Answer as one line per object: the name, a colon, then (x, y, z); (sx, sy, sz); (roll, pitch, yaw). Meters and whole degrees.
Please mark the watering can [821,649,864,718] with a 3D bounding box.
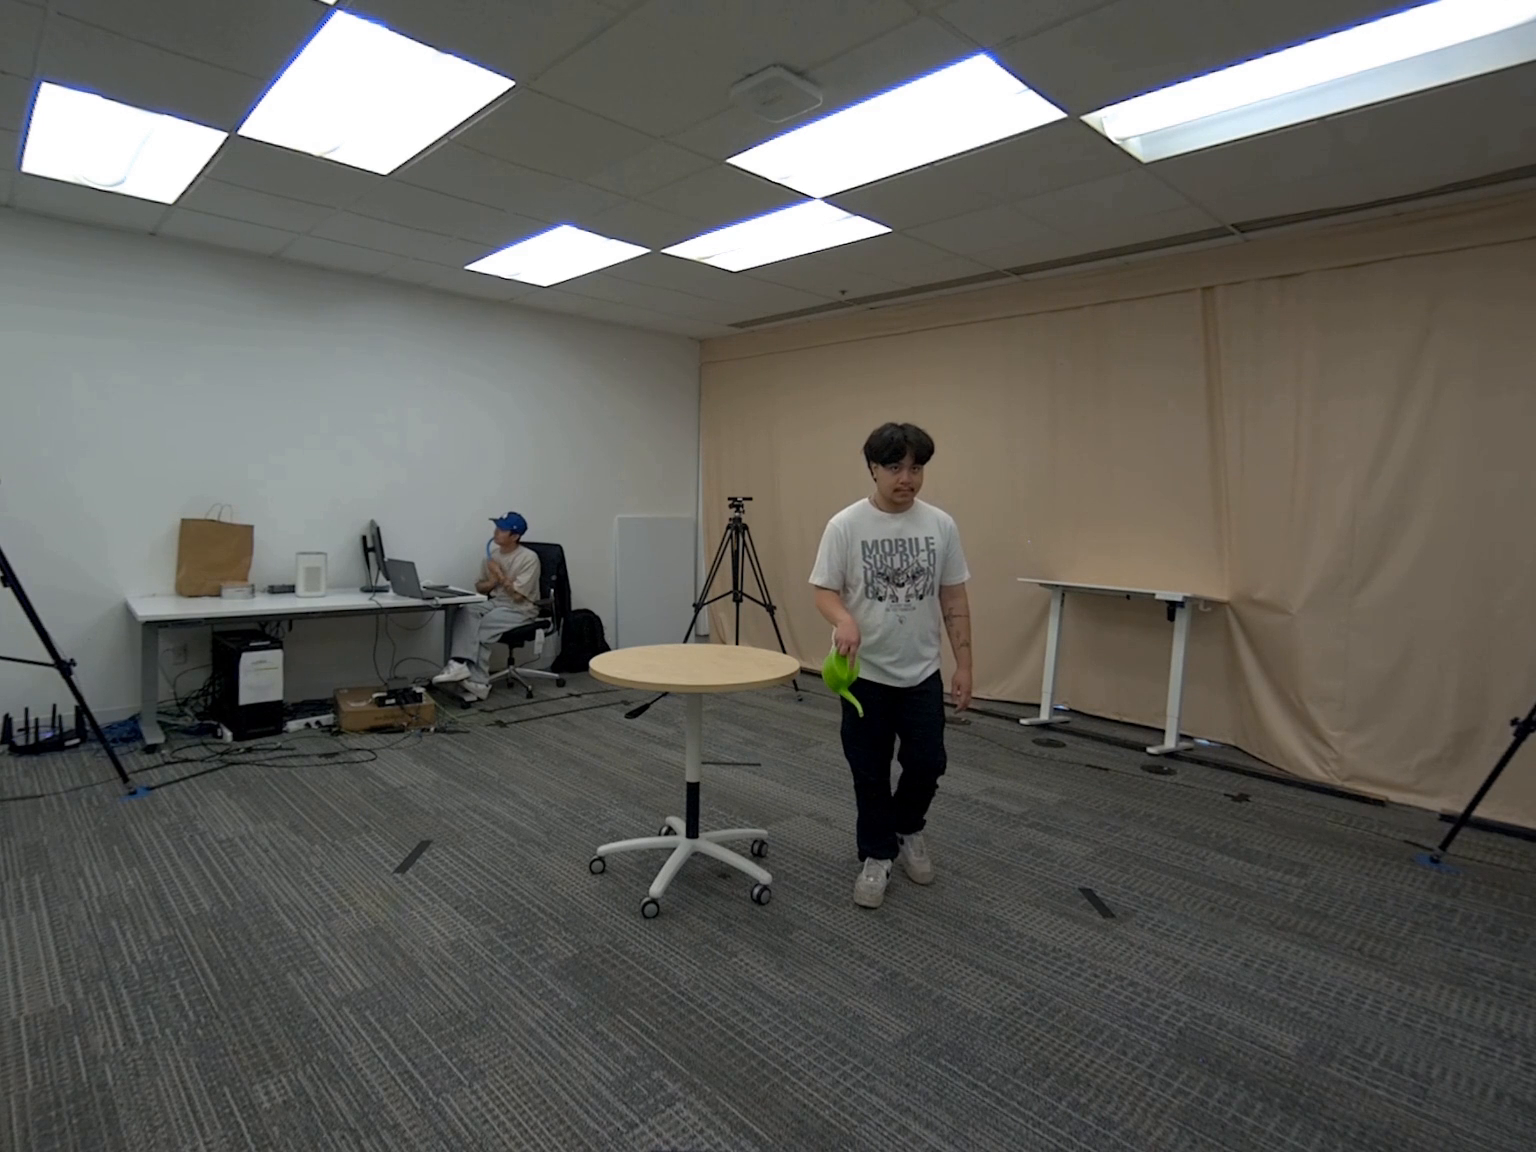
watering can: (0.232, 0.343, 2.749); (0.098, 0.282, 0.175); (10, -26, -5)
